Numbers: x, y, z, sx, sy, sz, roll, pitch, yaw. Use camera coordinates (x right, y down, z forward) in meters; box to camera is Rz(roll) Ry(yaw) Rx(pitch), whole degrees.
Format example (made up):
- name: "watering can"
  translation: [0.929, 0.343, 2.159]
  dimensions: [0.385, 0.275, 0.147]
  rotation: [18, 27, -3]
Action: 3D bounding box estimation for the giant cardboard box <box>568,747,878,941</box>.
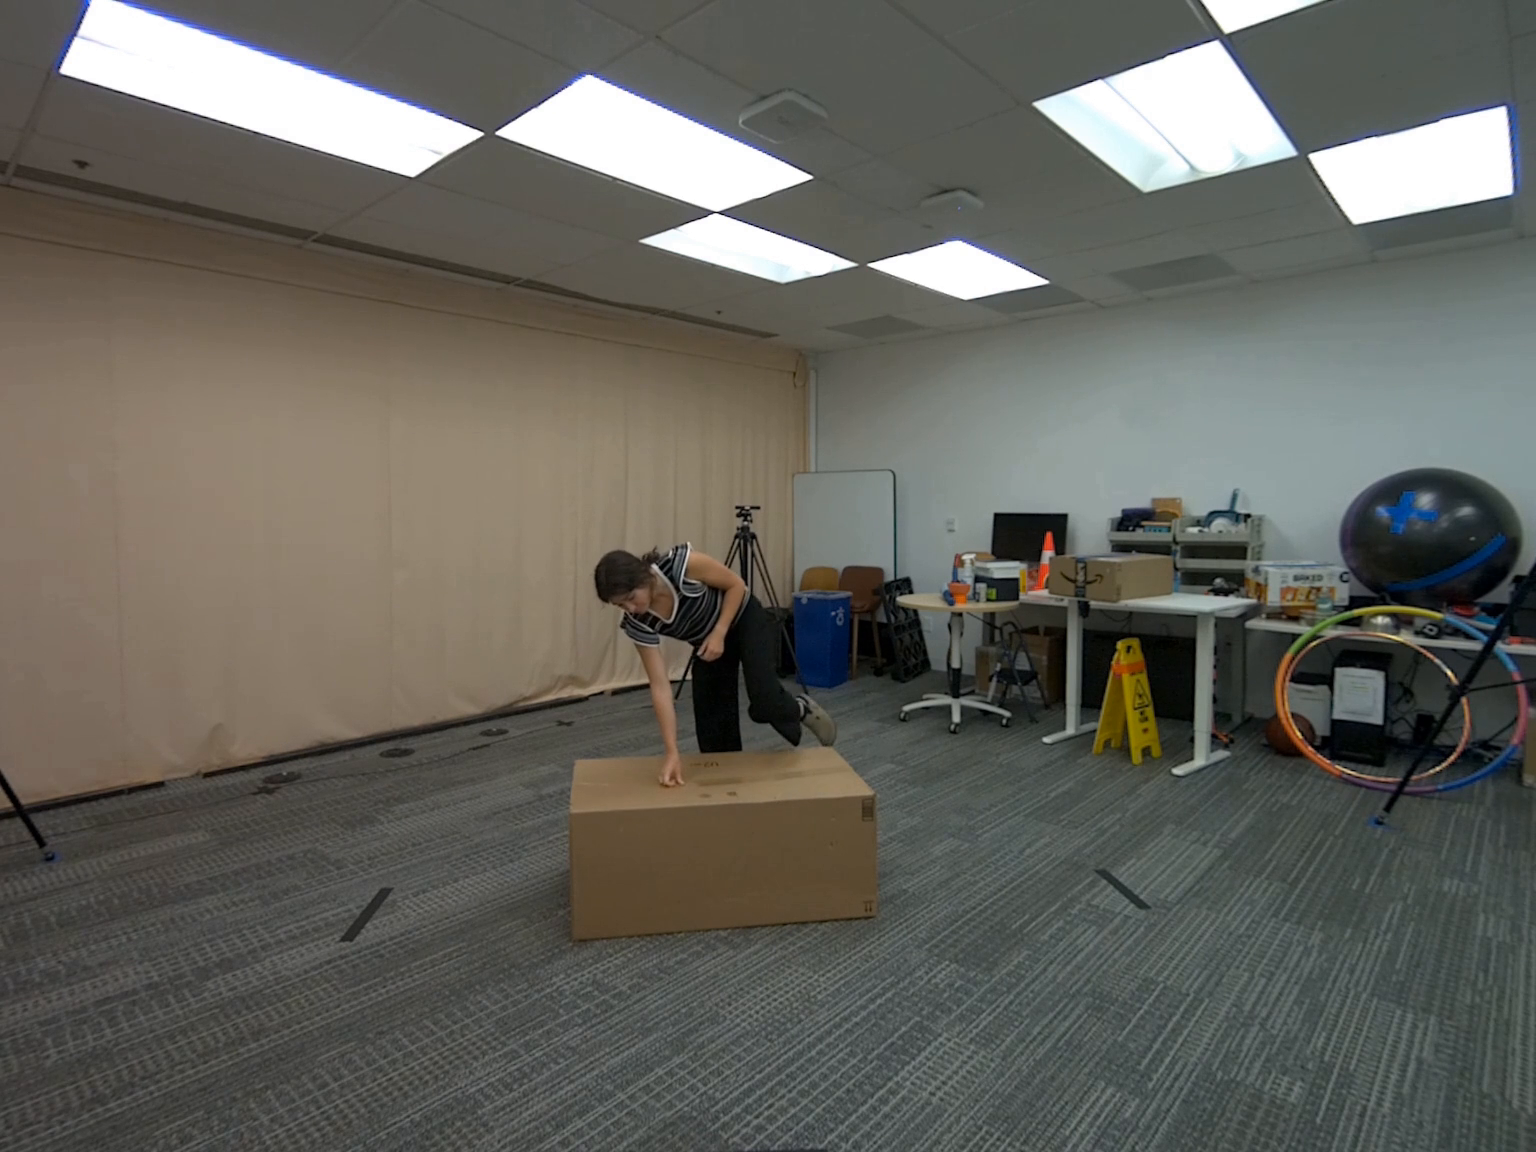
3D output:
- name: "giant cardboard box"
  translation: [-0.189, 0.930, 3.042]
  dimensions: [1.017, 0.425, 0.584]
  rotation: [-1, 4, -9]
